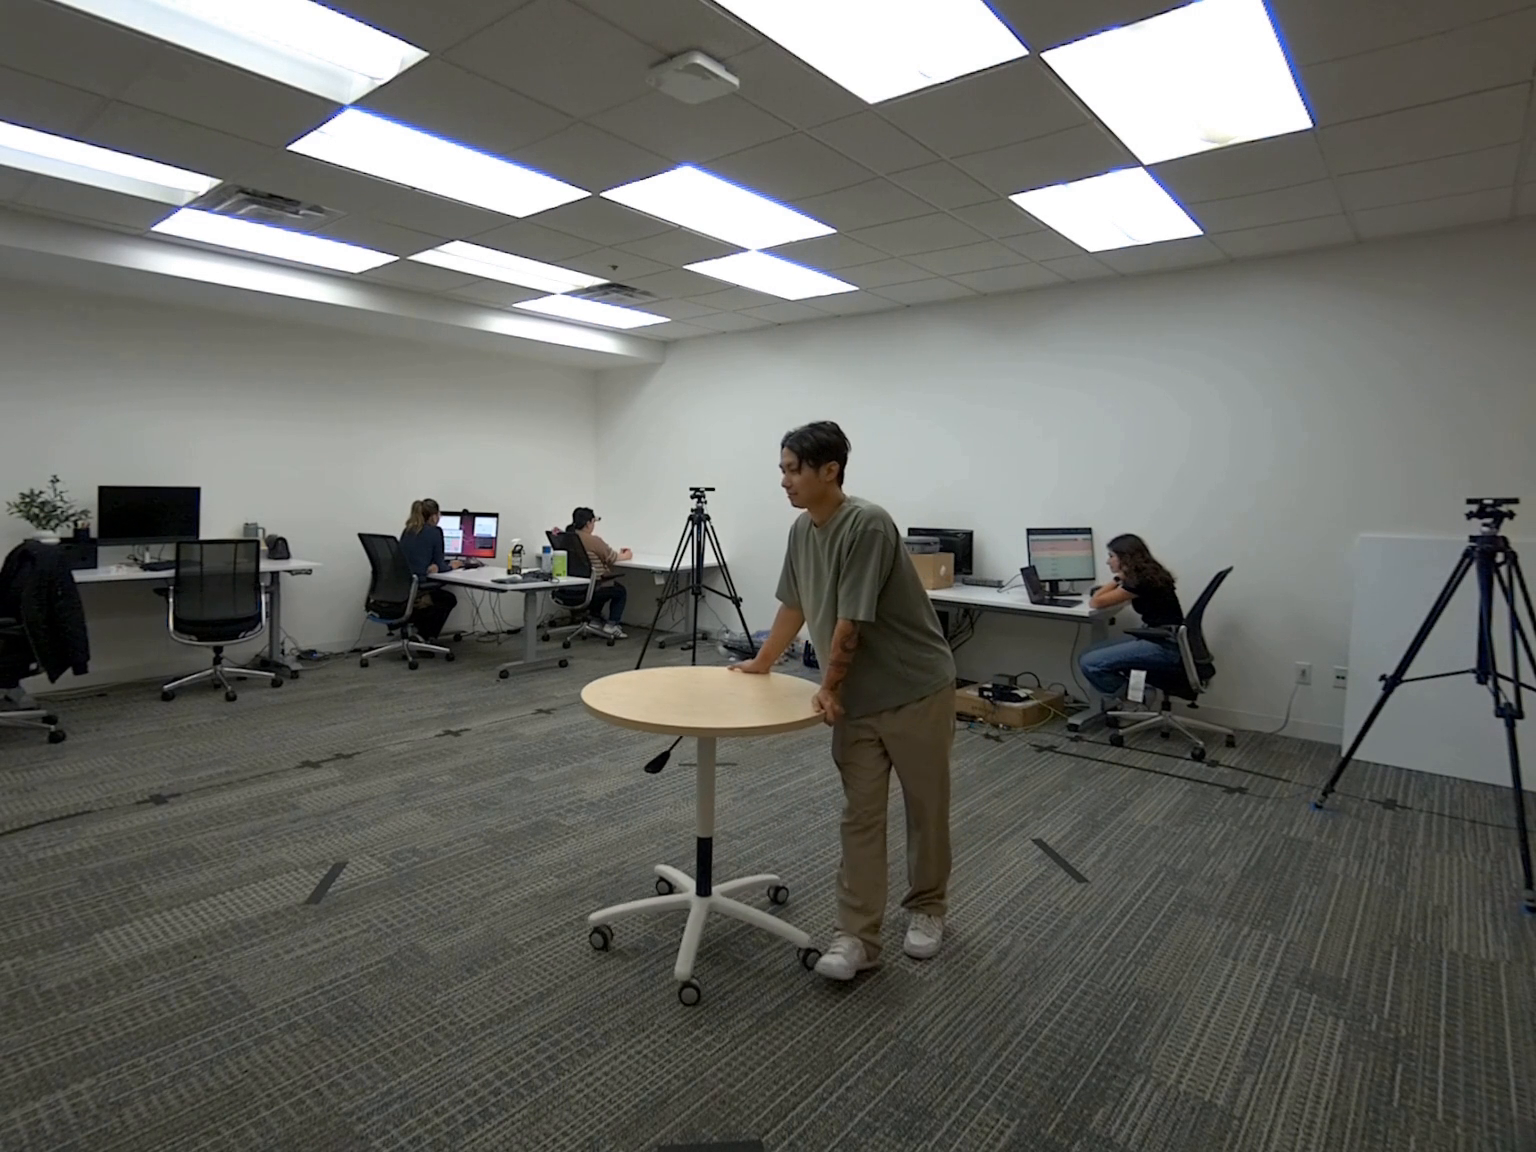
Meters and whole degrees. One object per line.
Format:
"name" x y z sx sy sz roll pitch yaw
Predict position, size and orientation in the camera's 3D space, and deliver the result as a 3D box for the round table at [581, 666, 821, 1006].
"round table" -0.204 0.732 2.627 0.784 0.783 0.789 2 5 -2
